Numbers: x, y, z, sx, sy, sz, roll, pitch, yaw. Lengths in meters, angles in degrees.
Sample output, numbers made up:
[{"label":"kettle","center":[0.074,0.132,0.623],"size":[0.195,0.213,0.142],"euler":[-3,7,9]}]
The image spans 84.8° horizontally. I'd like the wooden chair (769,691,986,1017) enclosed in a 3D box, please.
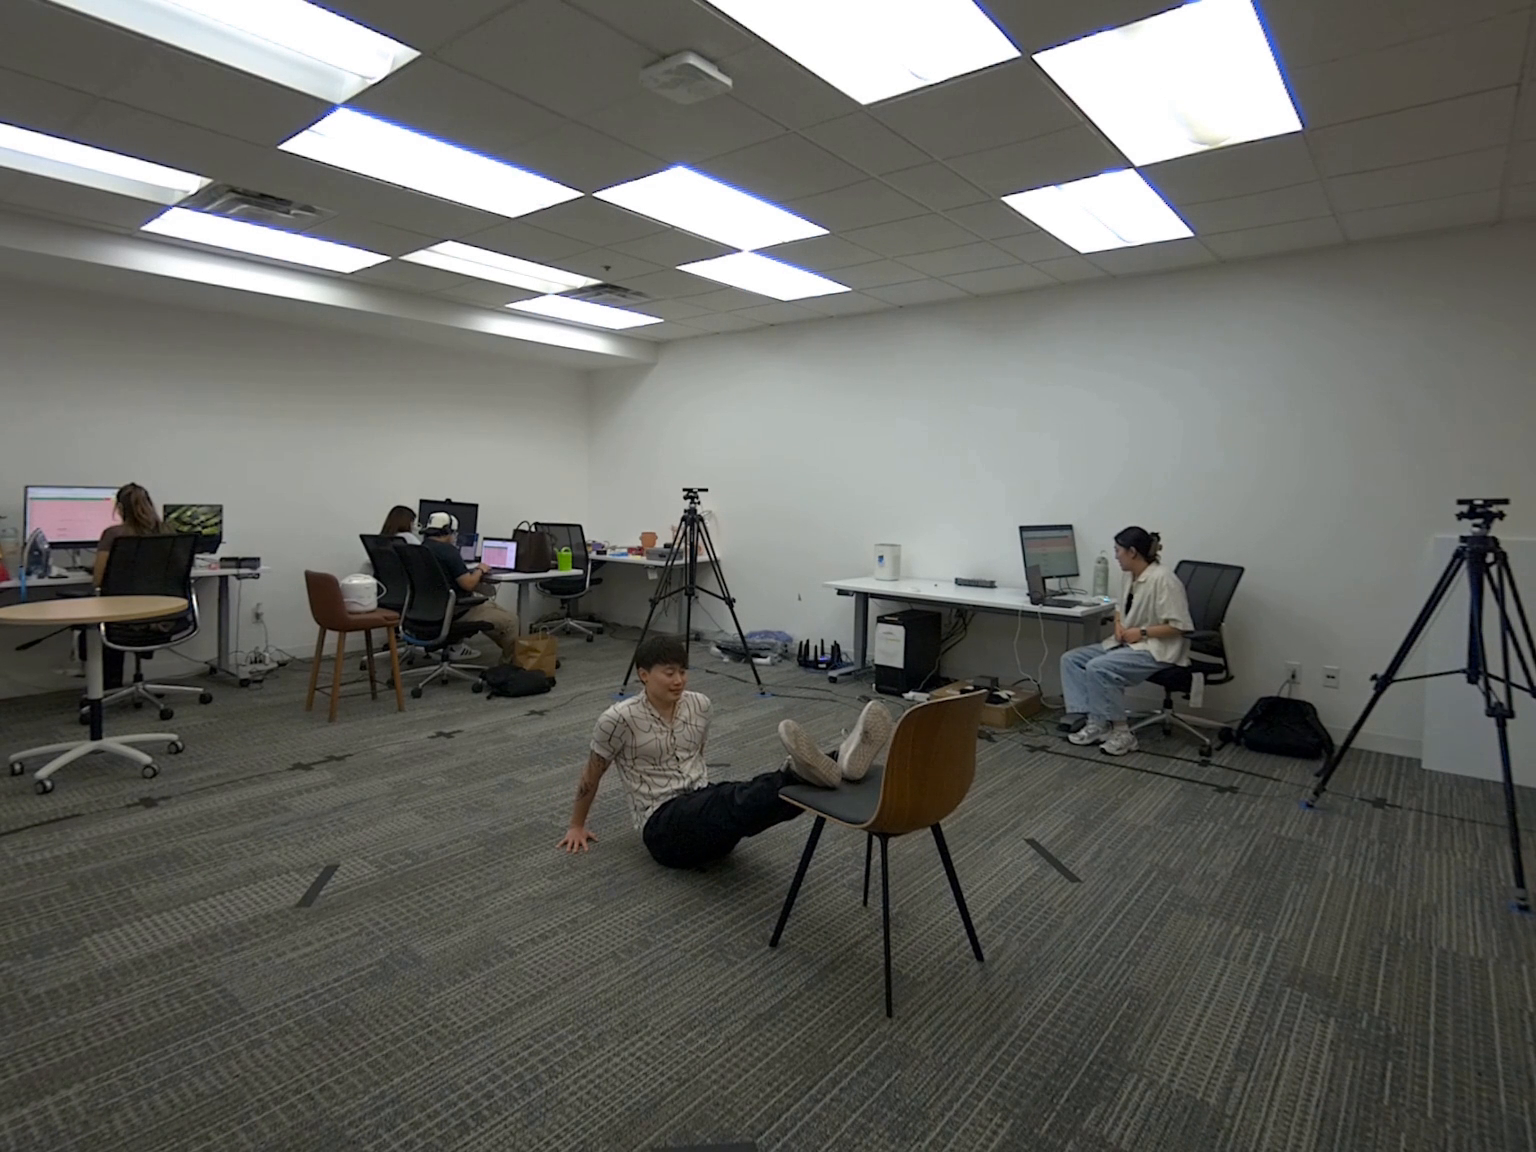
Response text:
[{"label":"wooden chair","center":[0.325,0.707,2.546],"size":[0.463,0.872,0.542],"euler":[-2,9,-43]}]
